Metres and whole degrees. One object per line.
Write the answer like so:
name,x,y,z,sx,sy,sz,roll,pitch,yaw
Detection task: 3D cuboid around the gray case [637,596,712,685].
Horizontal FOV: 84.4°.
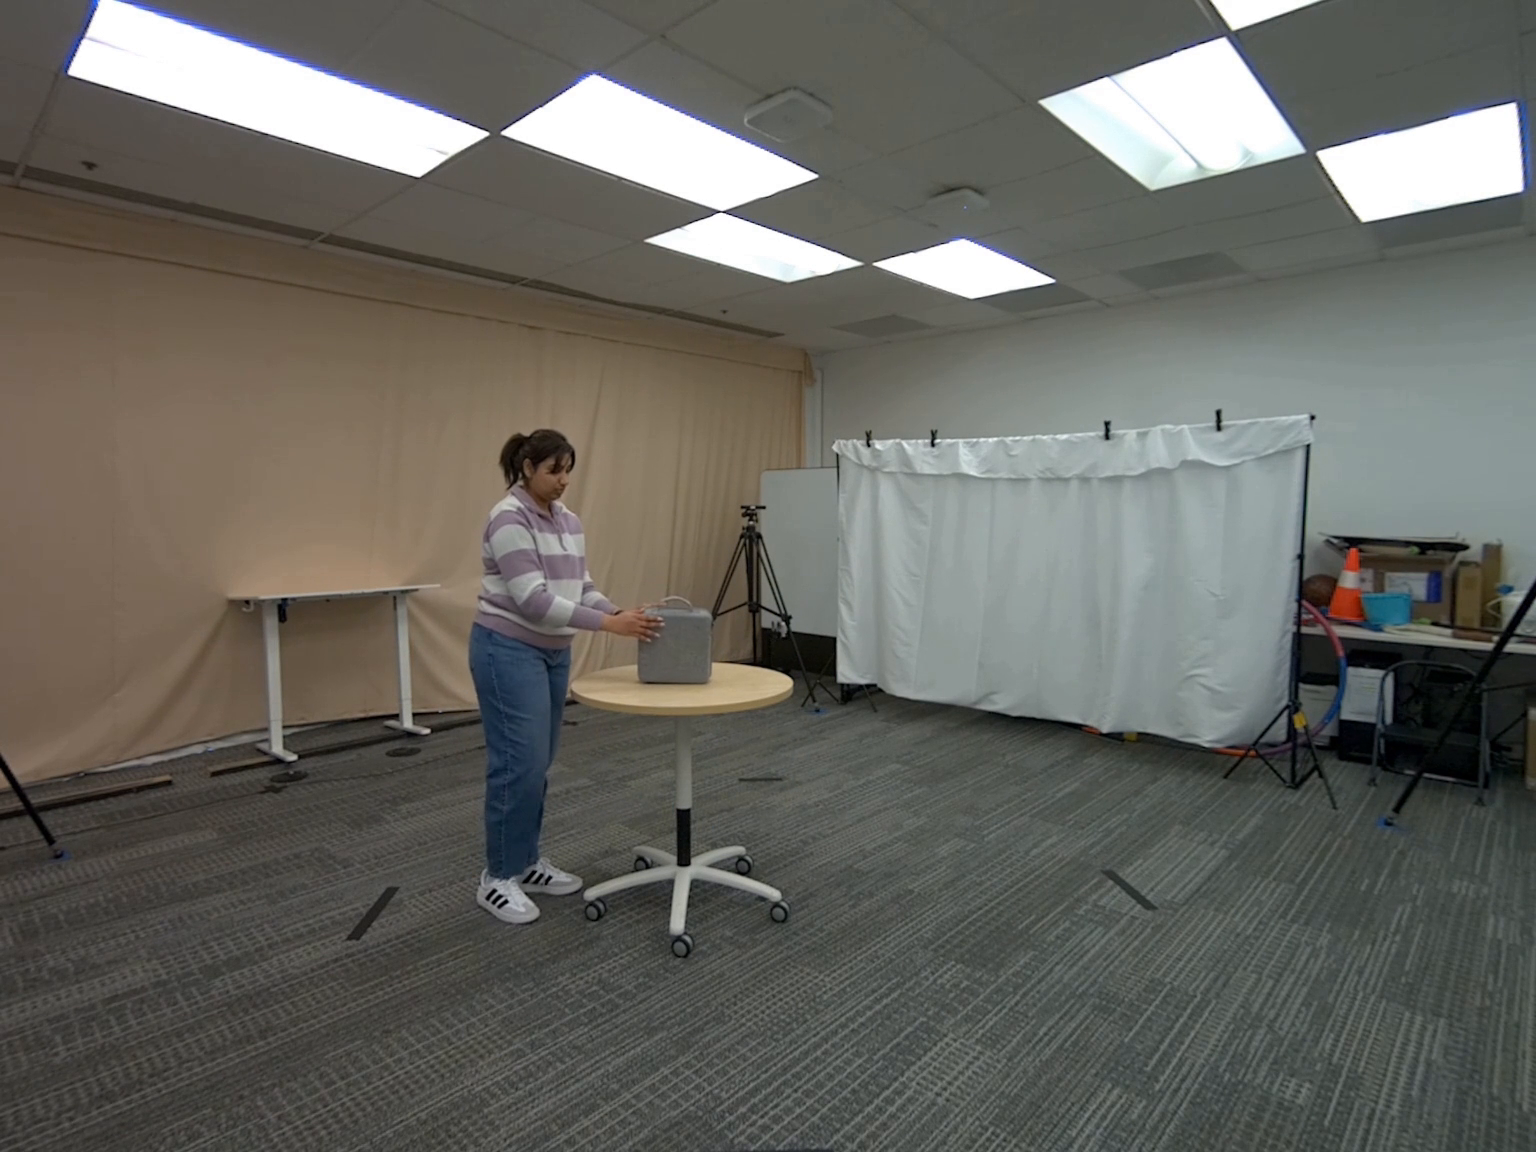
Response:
gray case,-0.314,0.238,2.884,0.257,0.259,0.105,1,9,0
